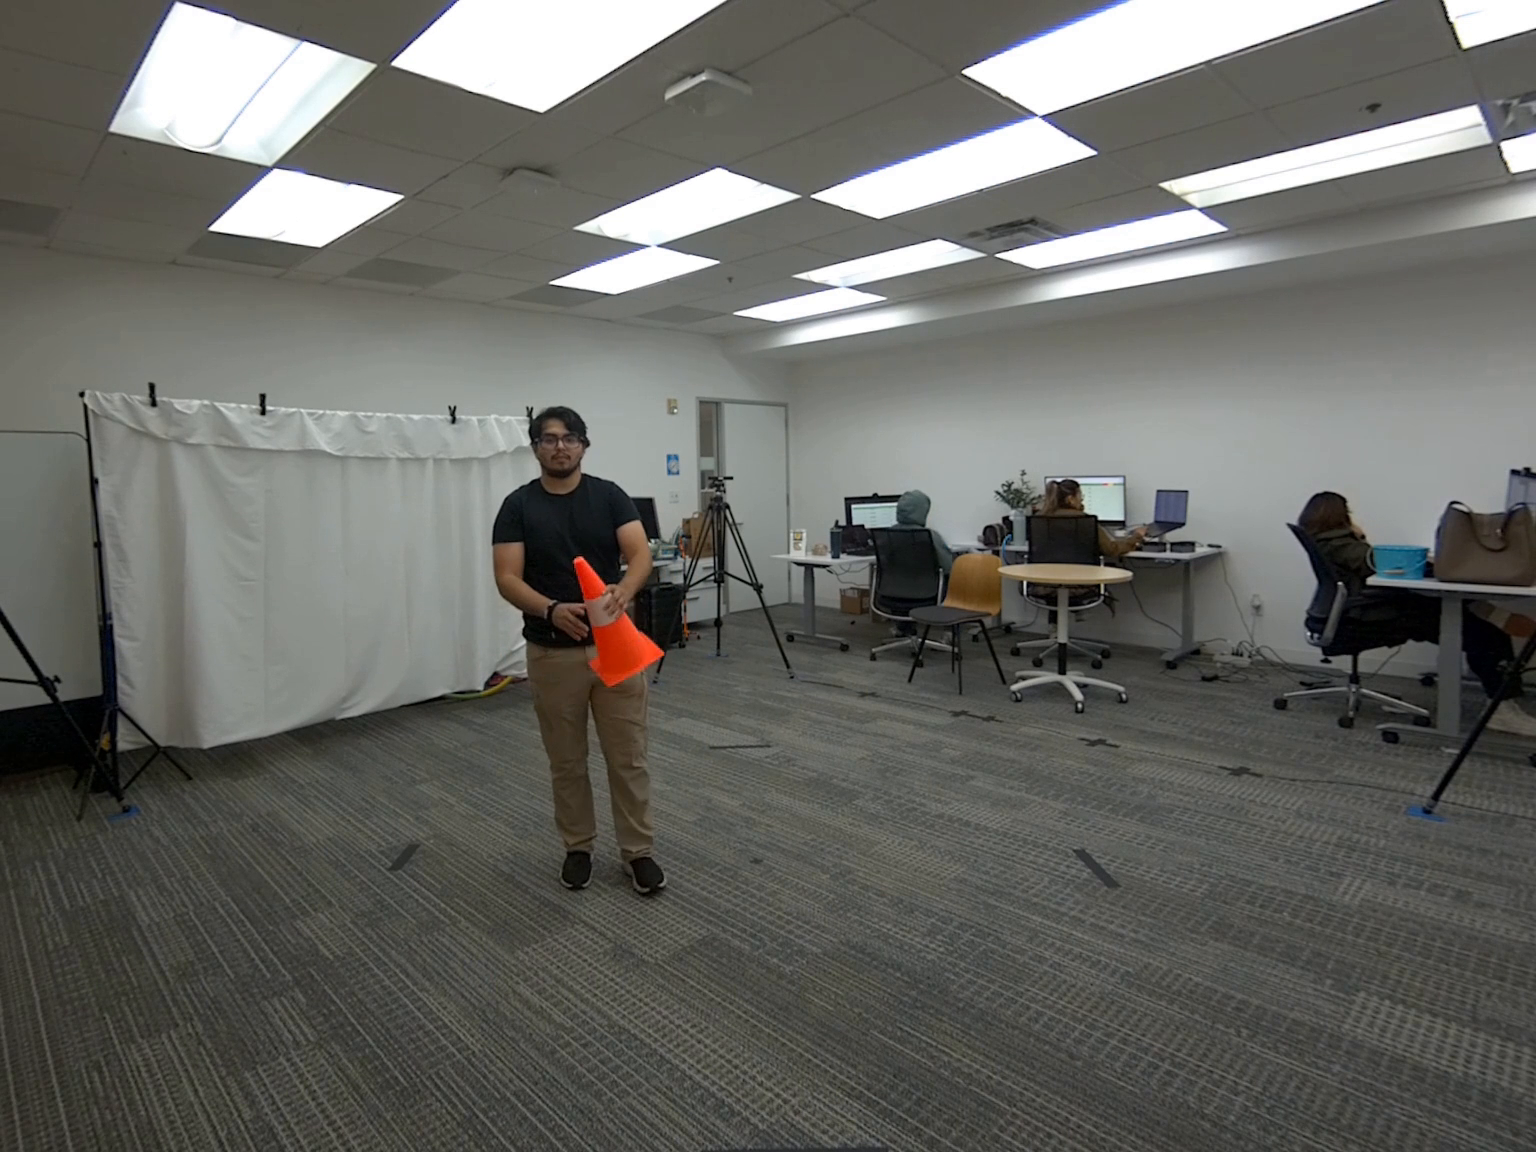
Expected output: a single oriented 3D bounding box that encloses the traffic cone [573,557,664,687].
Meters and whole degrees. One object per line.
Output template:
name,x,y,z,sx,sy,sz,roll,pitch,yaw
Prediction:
traffic cone,-0.496,0.112,2.576,0.202,0.372,0.212,-30,31,-16
